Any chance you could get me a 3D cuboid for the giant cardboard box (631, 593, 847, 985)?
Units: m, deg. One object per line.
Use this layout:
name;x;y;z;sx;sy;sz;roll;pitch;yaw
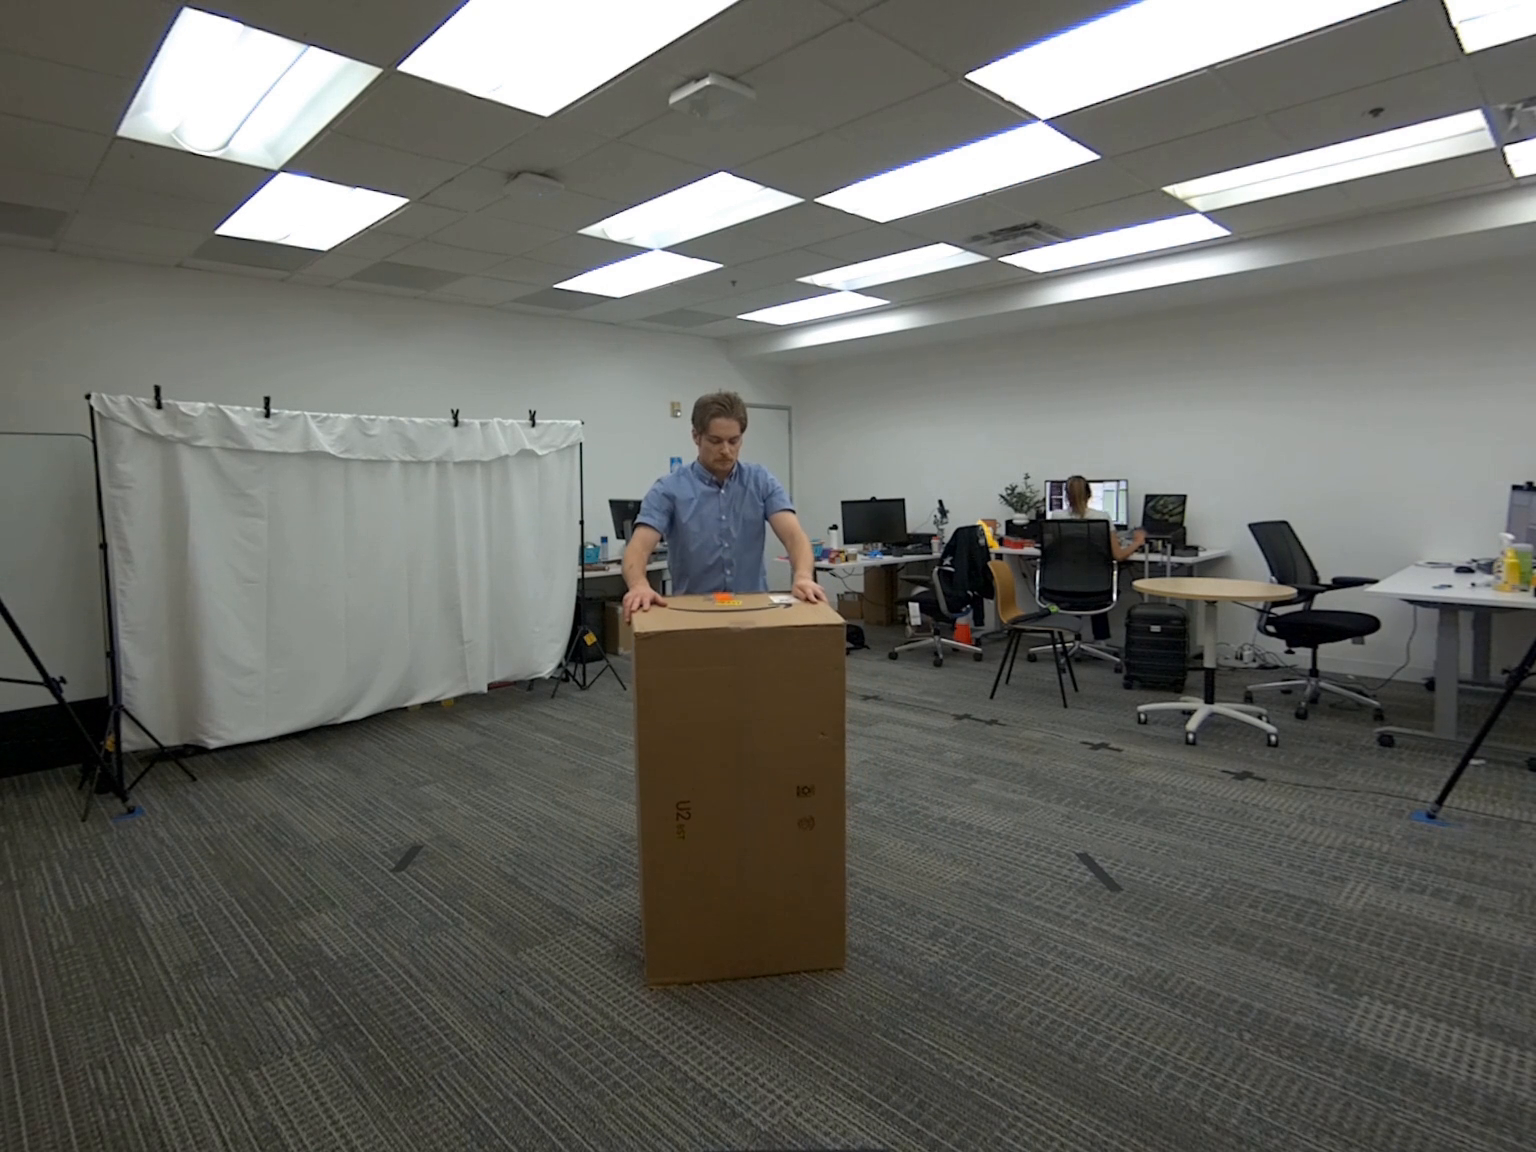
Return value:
giant cardboard box;-0.105;0.597;2.527;0.580;1.019;0.453;-2;8;-8
